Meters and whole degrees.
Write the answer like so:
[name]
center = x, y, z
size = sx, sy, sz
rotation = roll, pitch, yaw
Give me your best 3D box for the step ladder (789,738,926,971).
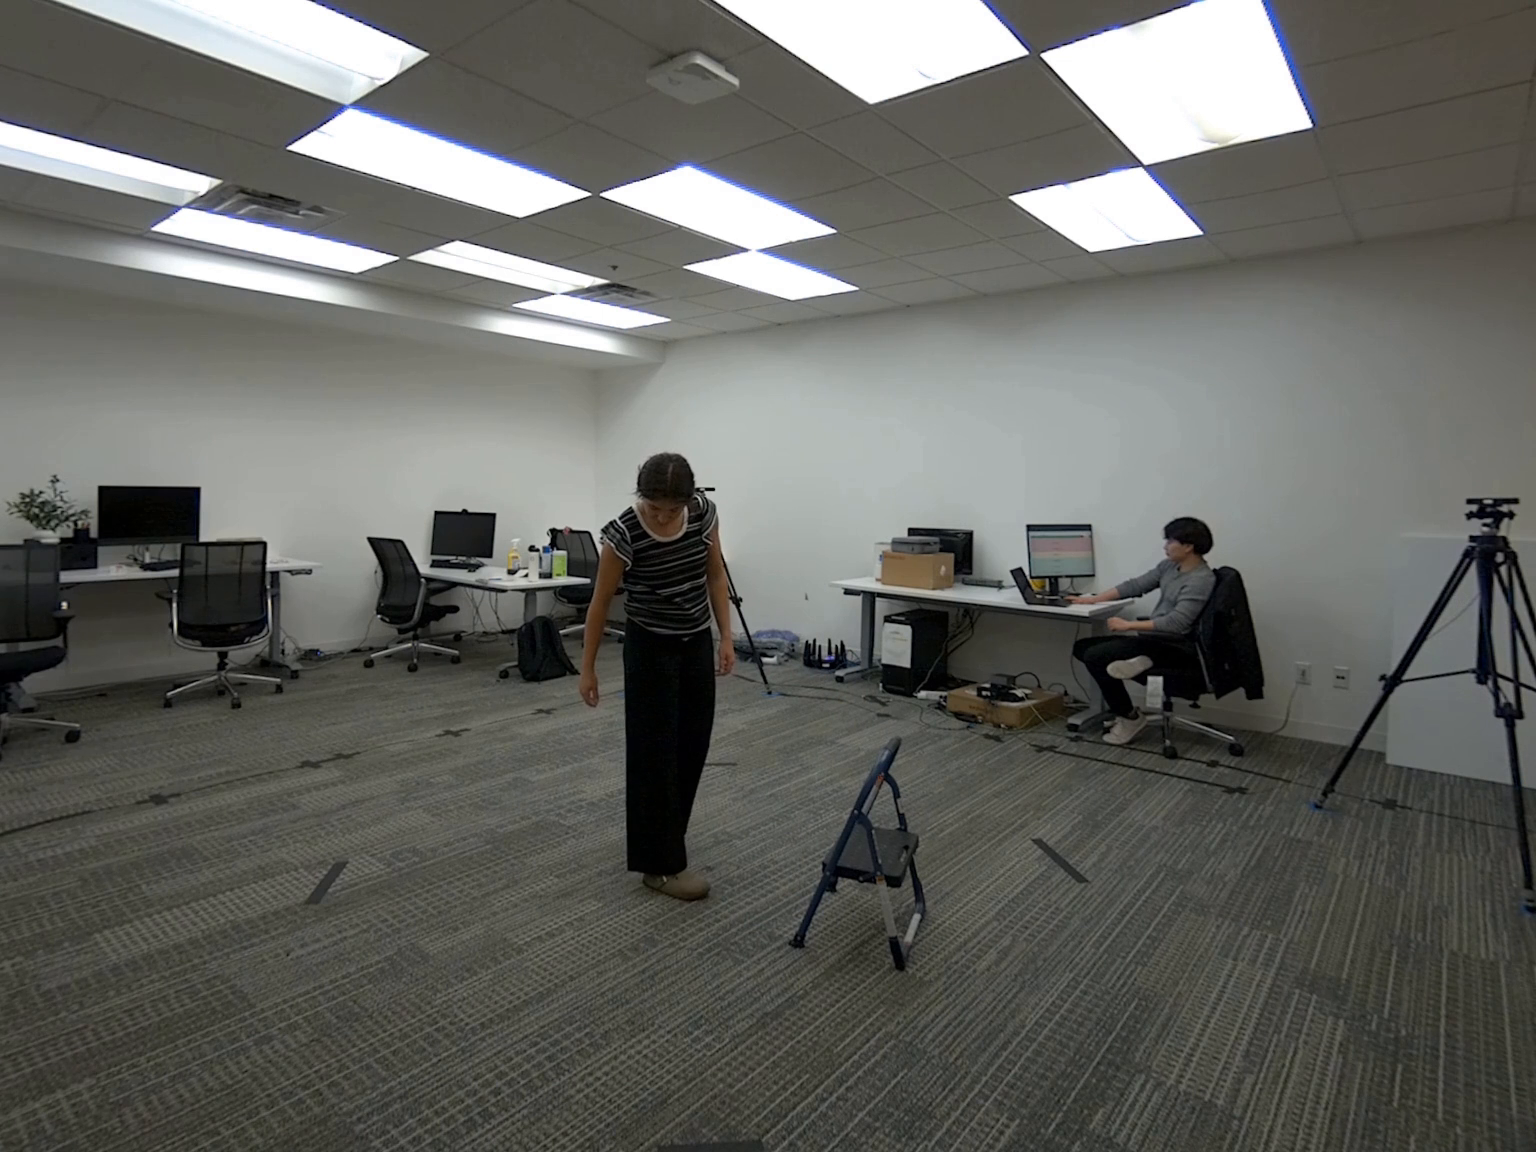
[step ladder]
center = 0.300, 0.817, 2.704
size = 0.357, 0.604, 0.422
rotation = 2, 4, 20
